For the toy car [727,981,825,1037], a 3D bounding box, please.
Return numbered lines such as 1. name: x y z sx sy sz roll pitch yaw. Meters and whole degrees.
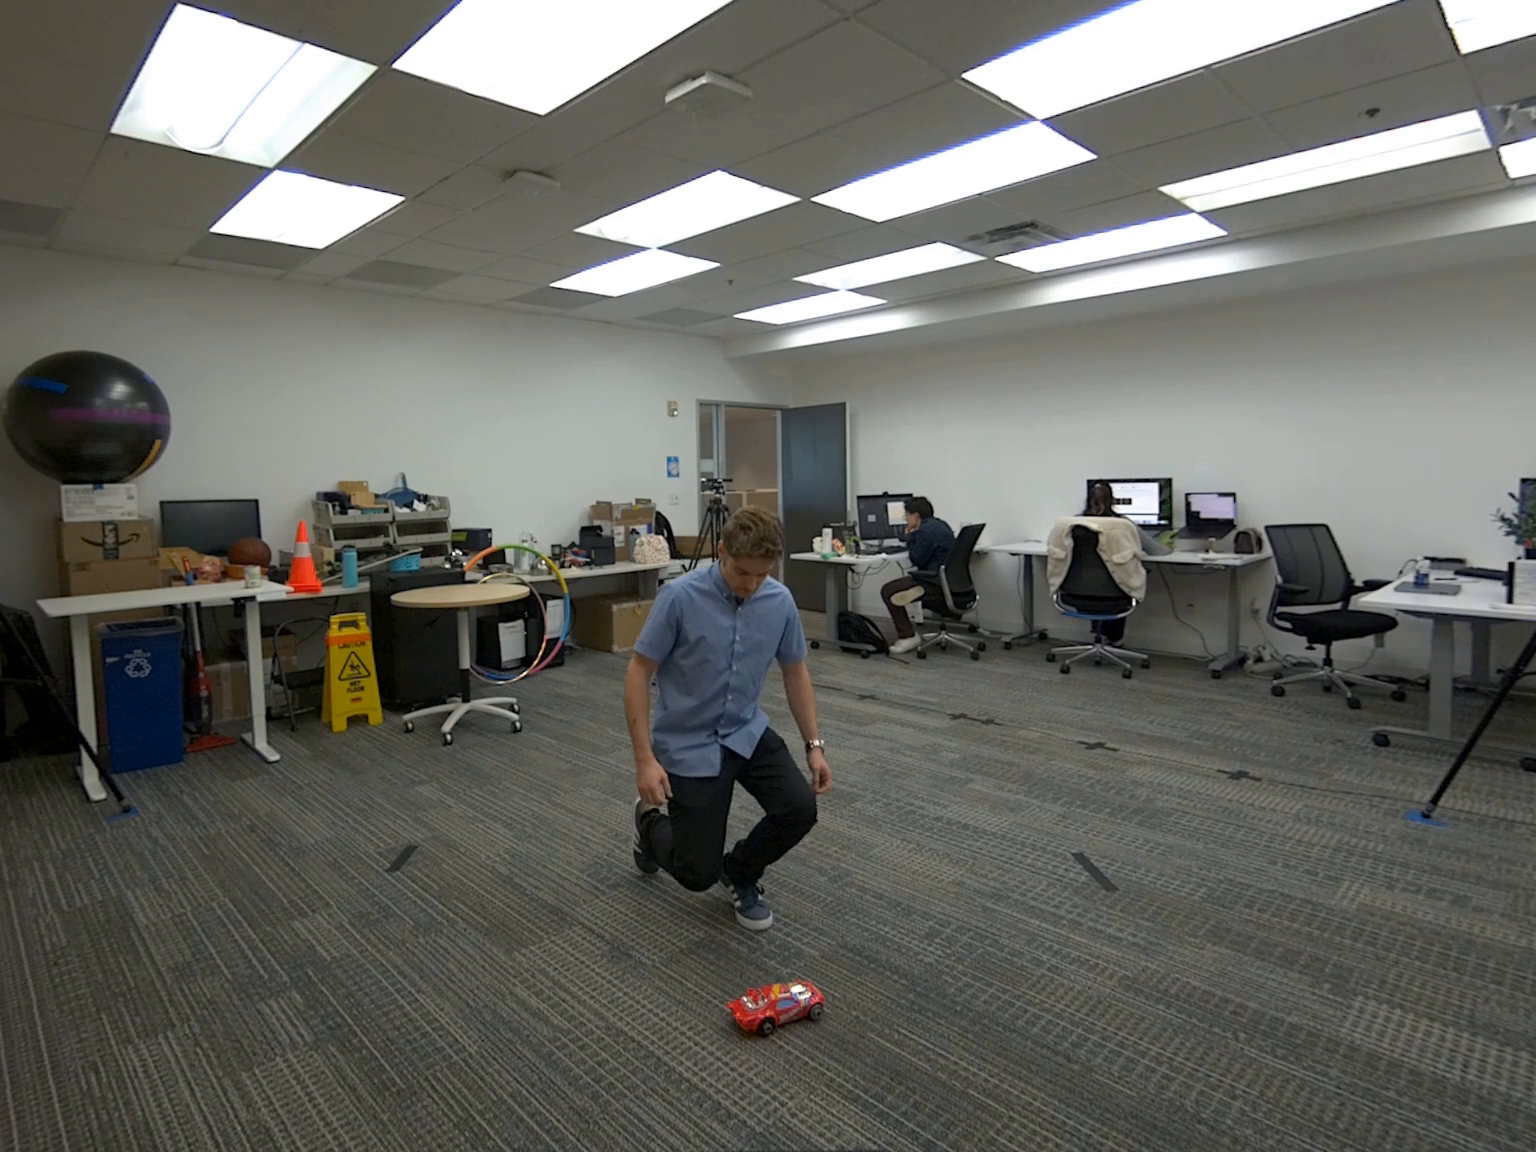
1. toy car: 0.025 1.120 2.213 0.248 0.083 0.134 6 2 -26
